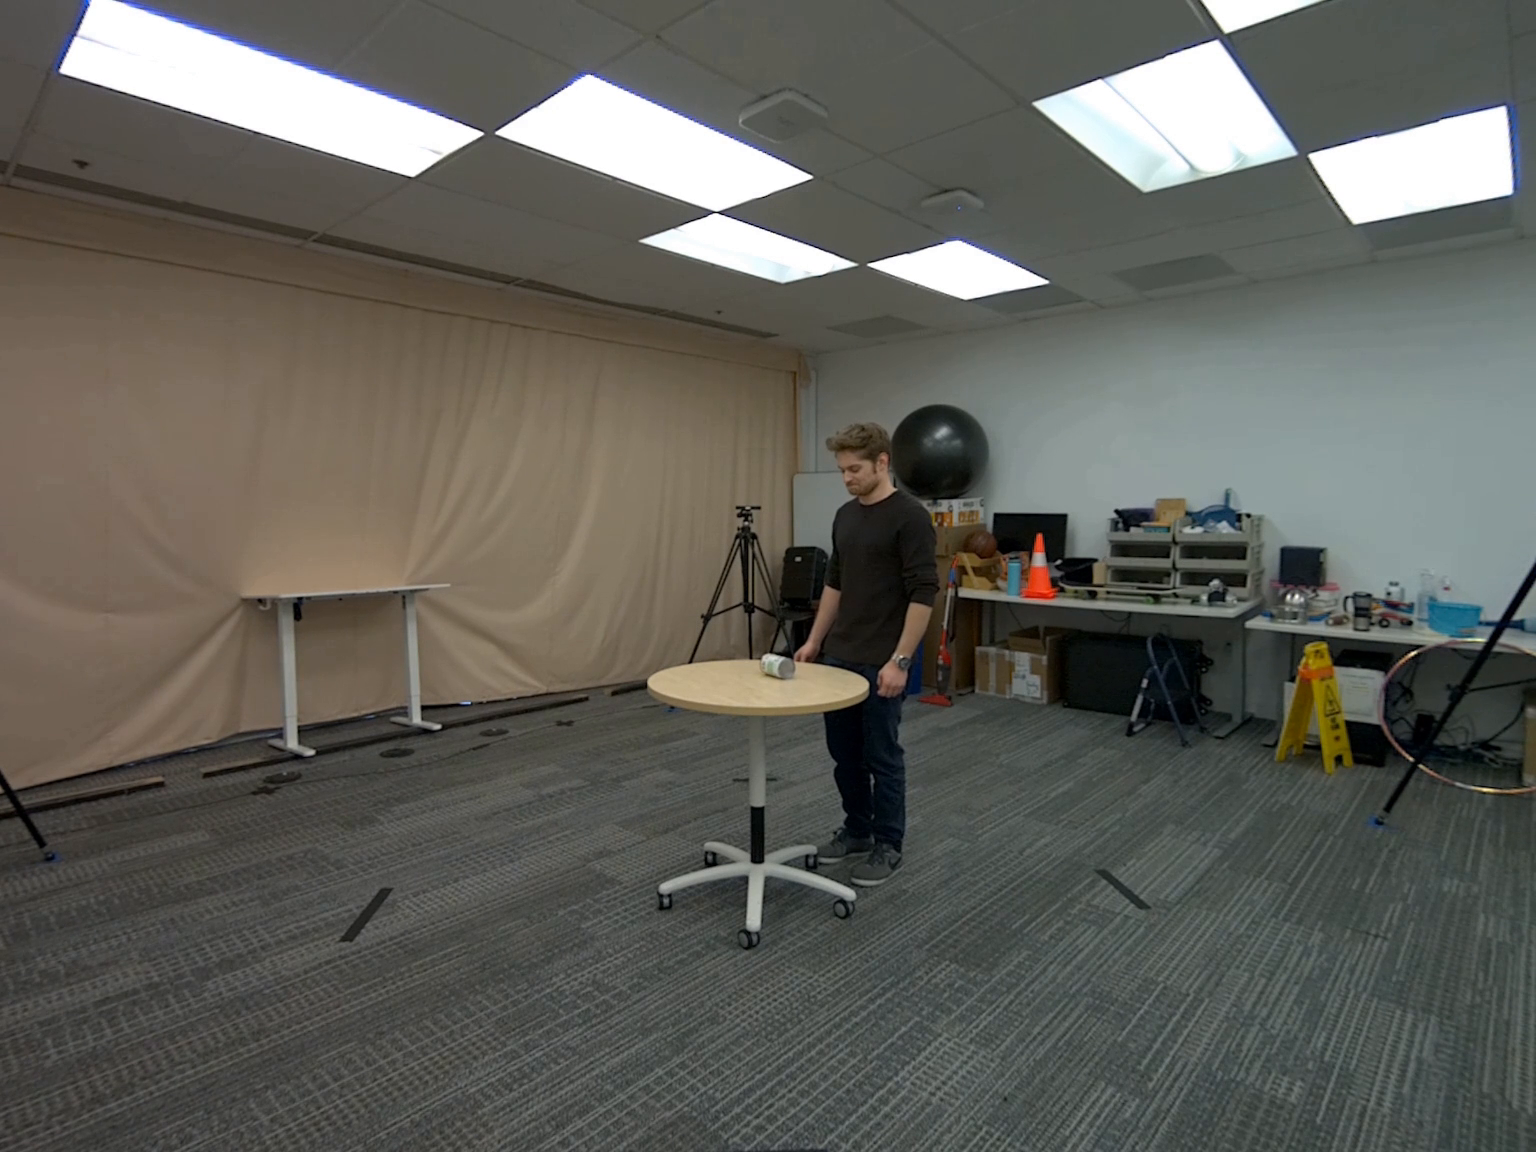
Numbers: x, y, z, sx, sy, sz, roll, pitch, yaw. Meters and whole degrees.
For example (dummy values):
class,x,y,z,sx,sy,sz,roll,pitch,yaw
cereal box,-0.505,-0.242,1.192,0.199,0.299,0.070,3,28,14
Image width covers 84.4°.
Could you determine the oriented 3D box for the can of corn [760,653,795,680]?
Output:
class,x,y,z,sx,sy,sz,roll,pitch,yaw
can of corn,0.038,0.322,2.990,0.072,0.074,0.114,-2,4,-33
